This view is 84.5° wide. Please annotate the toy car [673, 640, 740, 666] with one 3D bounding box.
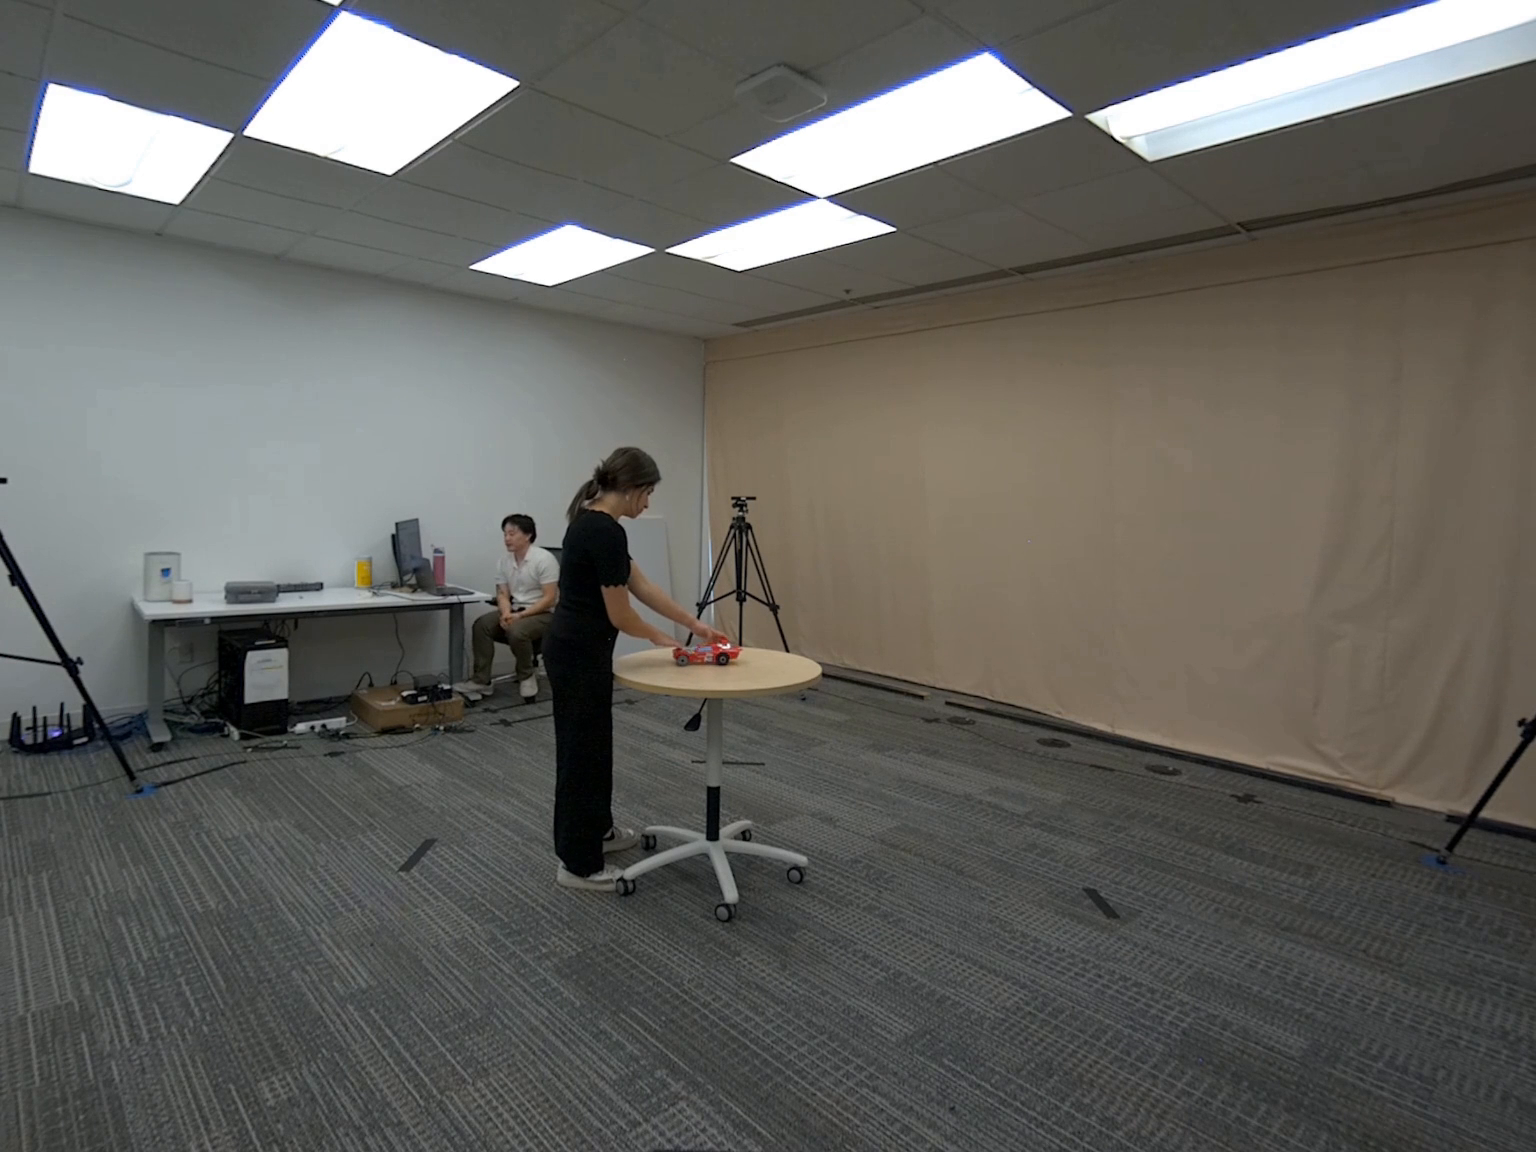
[{"bbox_3d":[-0.220,0.290,3.087,0.254,0.083,0.131,-12,5,-4],"label":"toy car"}]
